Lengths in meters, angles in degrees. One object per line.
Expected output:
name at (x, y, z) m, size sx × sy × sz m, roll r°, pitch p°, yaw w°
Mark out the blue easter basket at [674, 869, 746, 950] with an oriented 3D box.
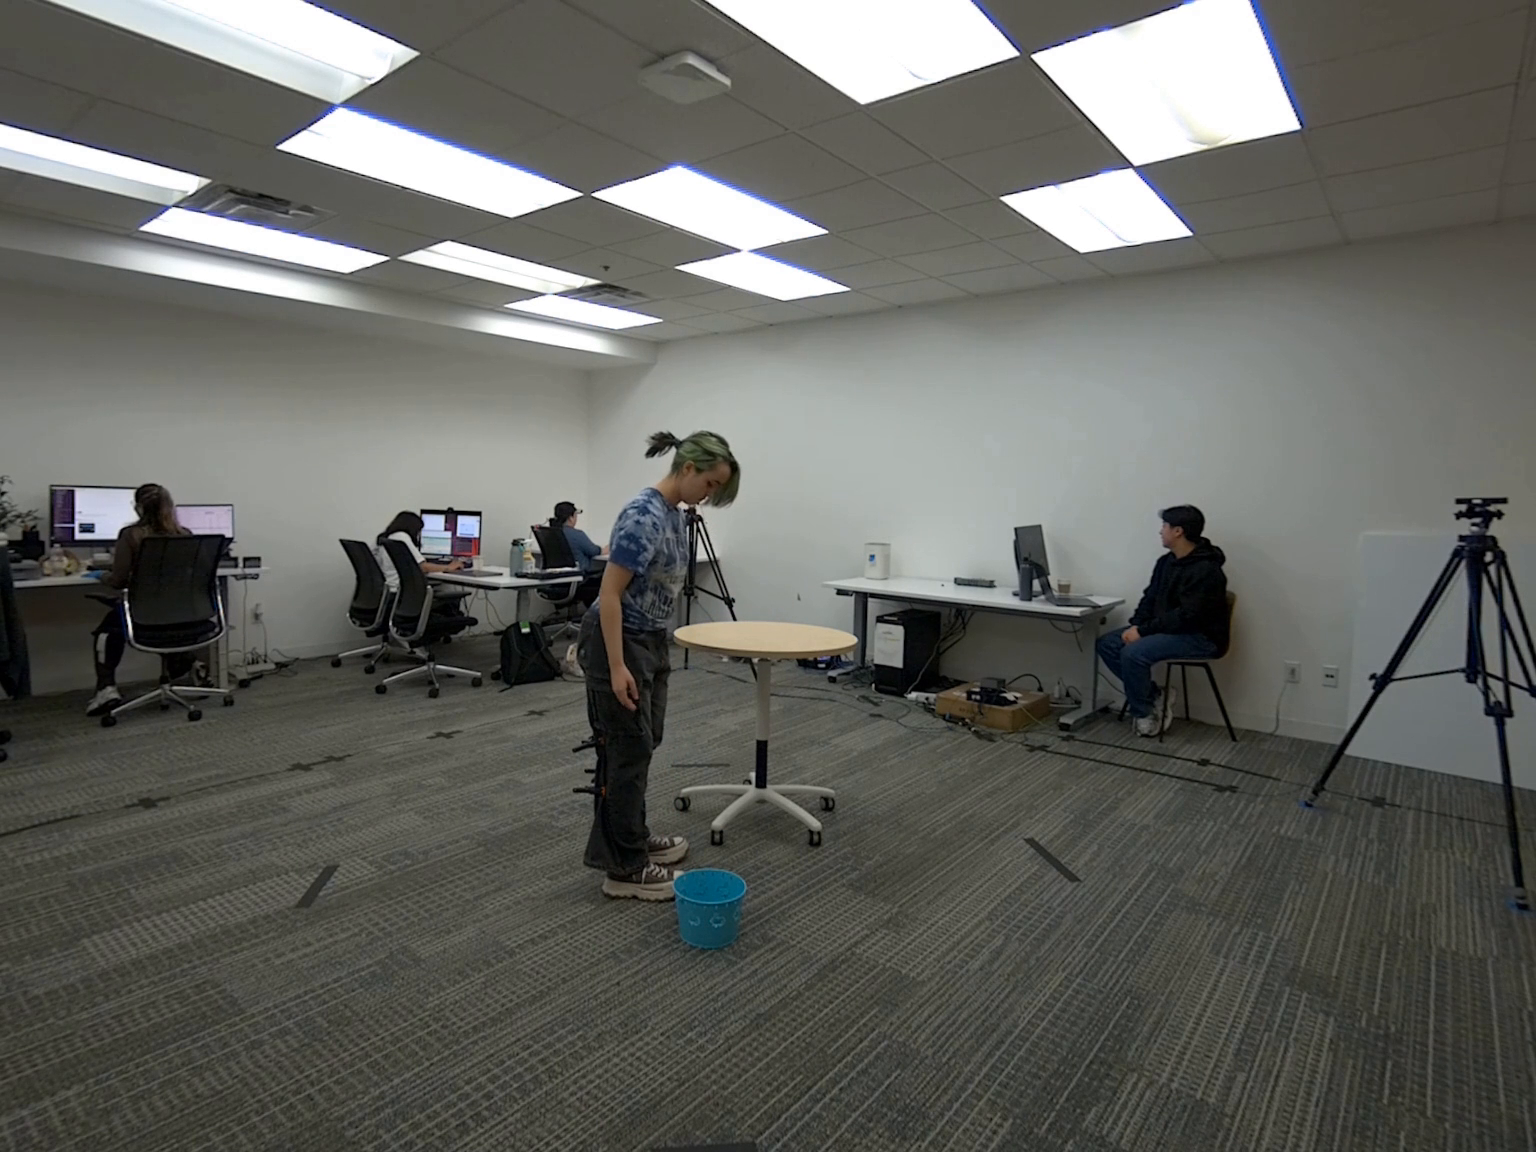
blue easter basket at (-0.191, 1.034, 2.659) m, size 0.243 × 0.155 × 0.245 m, roll 1°, pitch 5°, yaw -2°
